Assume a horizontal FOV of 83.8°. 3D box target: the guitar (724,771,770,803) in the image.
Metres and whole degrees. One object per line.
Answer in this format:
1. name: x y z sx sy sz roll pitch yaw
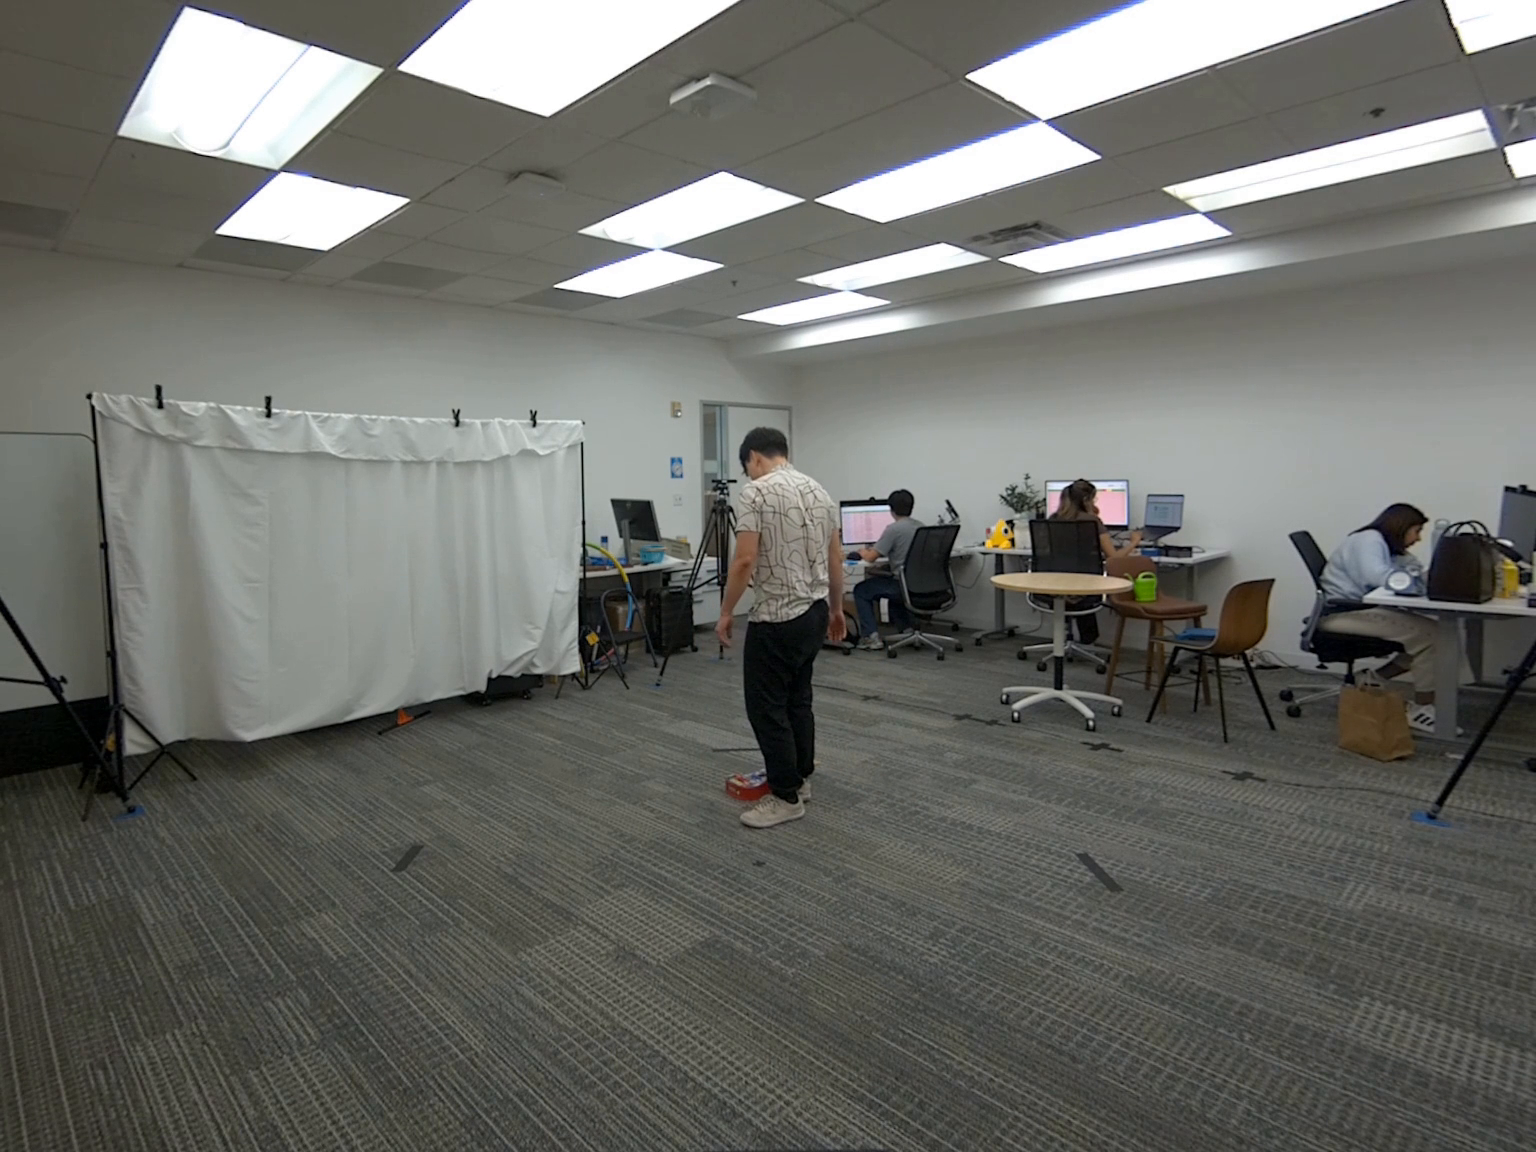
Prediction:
1. guitar: 0.052 0.926 3.893 0.487 0.070 0.198 -4 6 -25
